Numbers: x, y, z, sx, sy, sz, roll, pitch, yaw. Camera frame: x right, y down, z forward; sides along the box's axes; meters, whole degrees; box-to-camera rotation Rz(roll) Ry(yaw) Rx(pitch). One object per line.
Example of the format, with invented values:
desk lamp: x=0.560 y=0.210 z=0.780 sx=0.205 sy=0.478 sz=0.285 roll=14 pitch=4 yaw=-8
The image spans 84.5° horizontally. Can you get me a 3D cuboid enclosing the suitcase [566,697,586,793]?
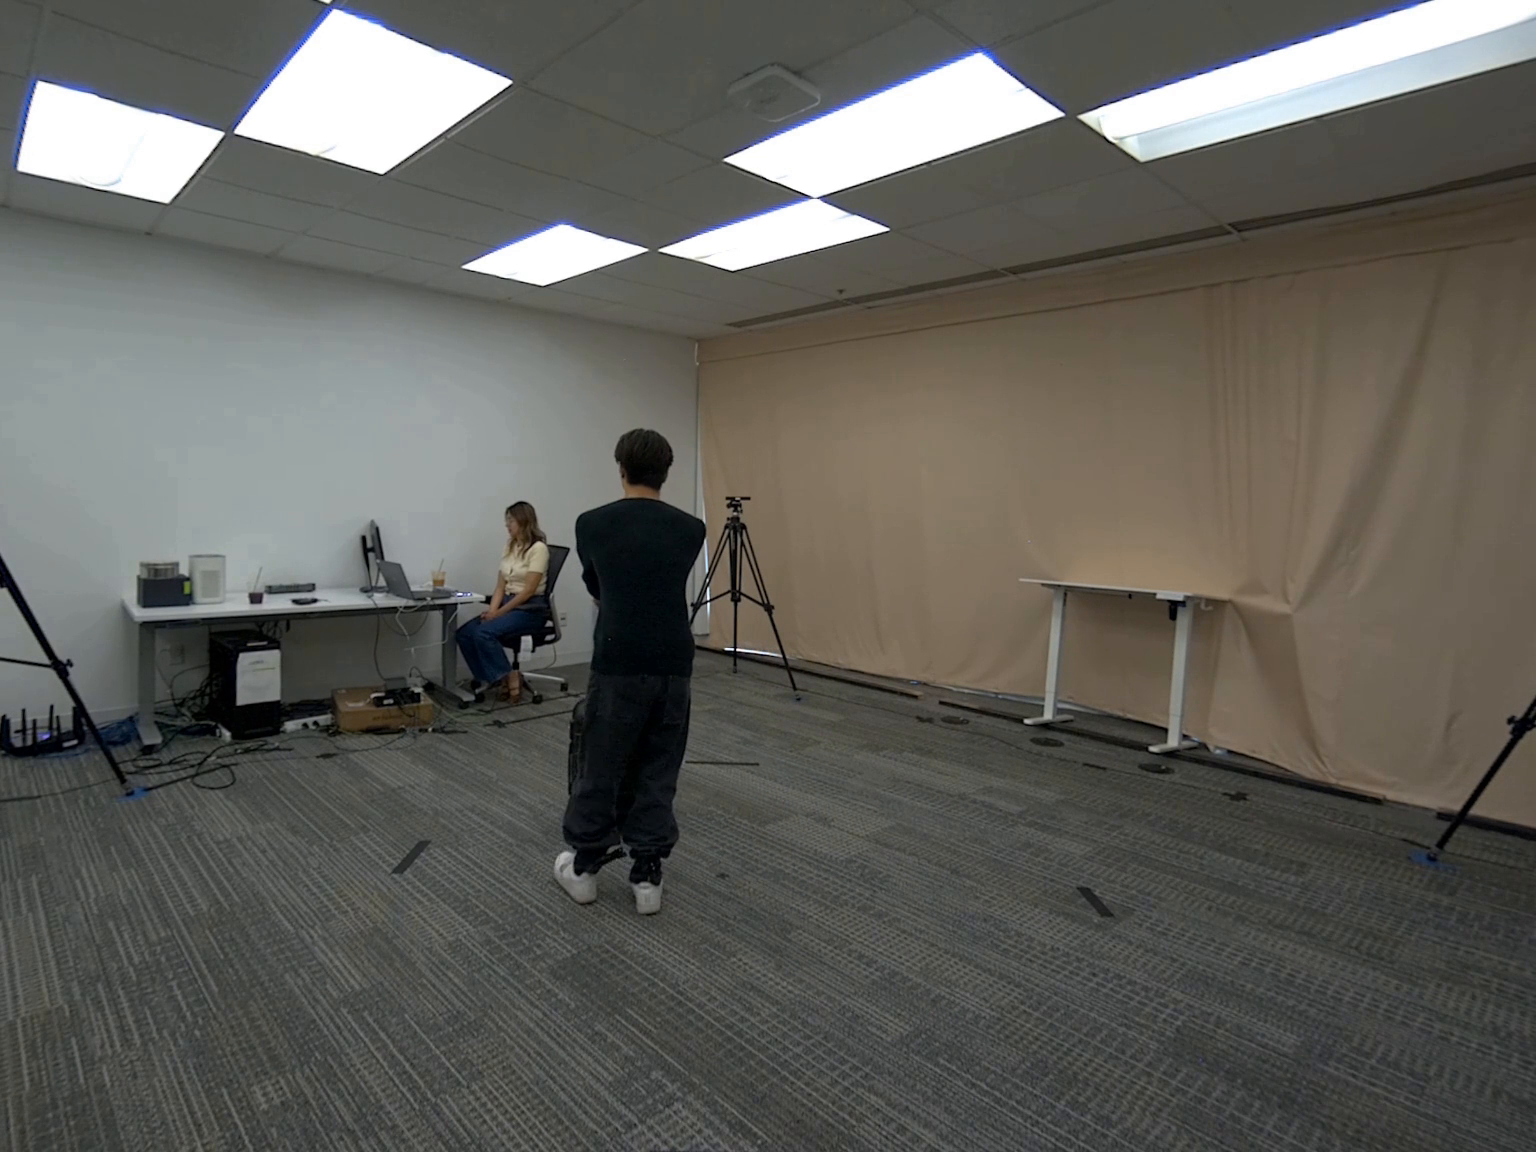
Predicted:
suitcase: x=-0.653 y=0.587 z=3.531 sx=0.382 sy=0.979 sz=0.258 roll=2 pitch=0 yaw=-7
